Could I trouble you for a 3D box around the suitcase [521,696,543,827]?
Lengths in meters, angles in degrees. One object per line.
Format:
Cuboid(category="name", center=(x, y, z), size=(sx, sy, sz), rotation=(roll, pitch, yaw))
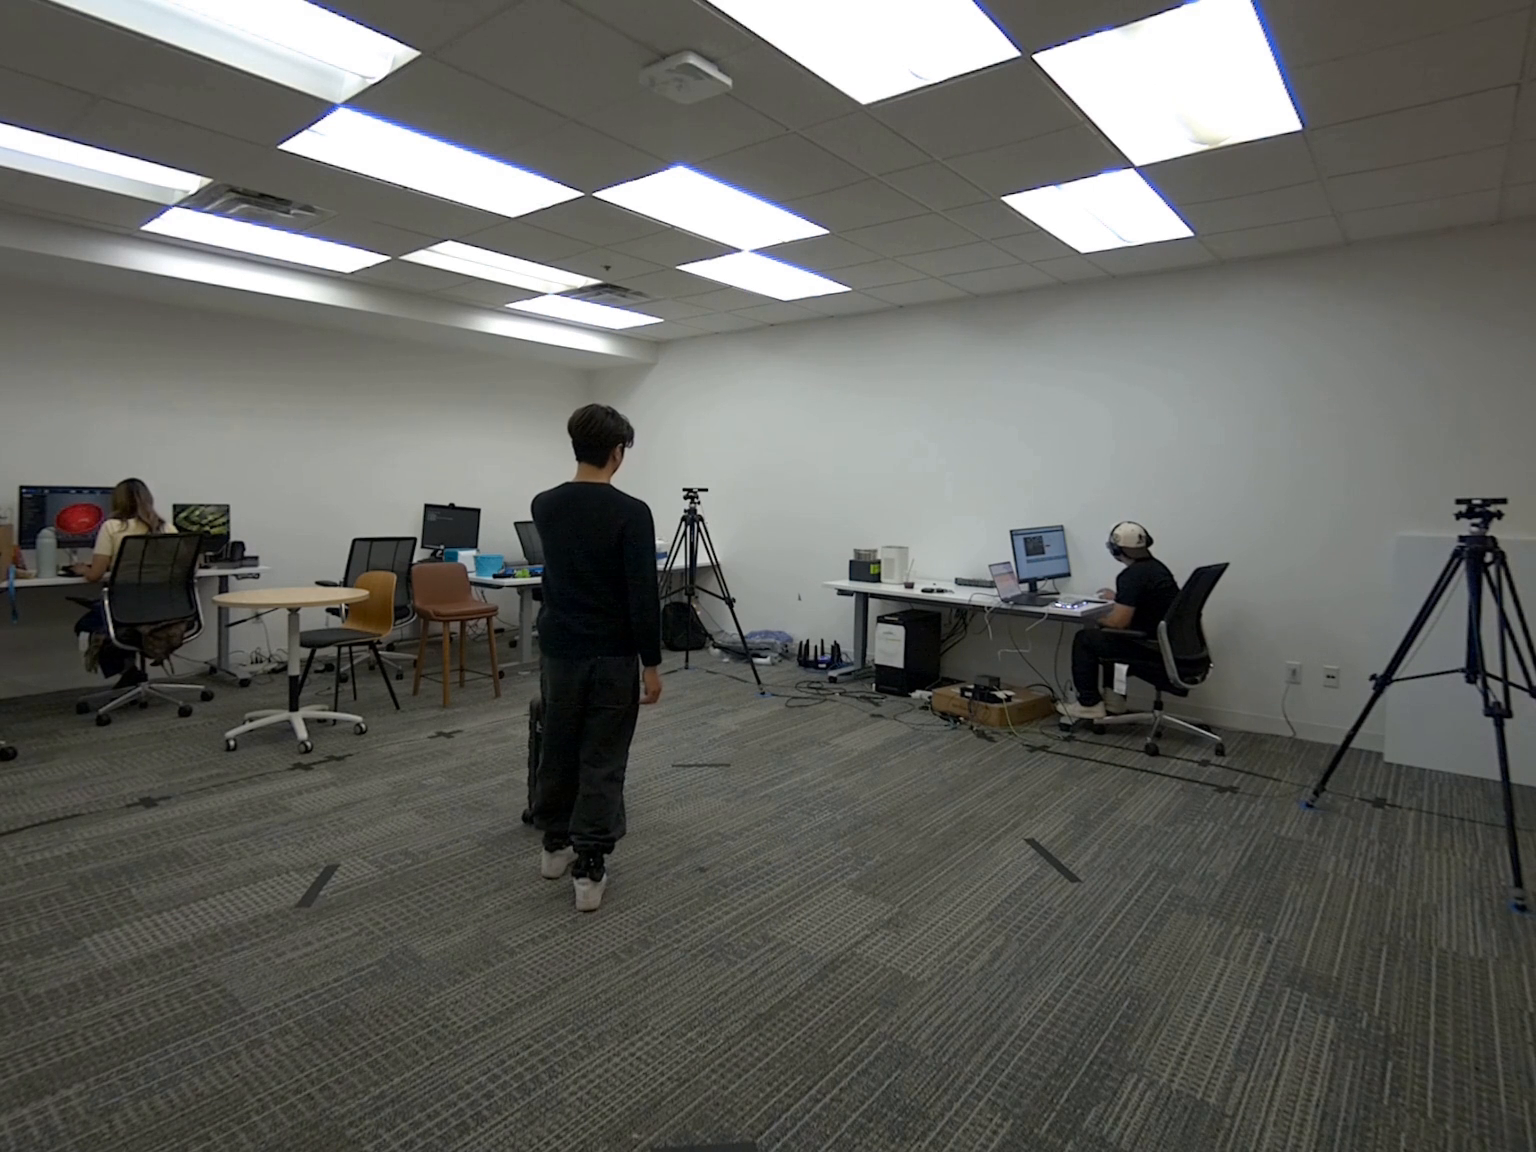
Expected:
Cuboid(category="suitcase", center=(-0.815, 0.538, 3.543), size=(0.372, 0.980, 0.265), rotation=(1, -1, -41))
